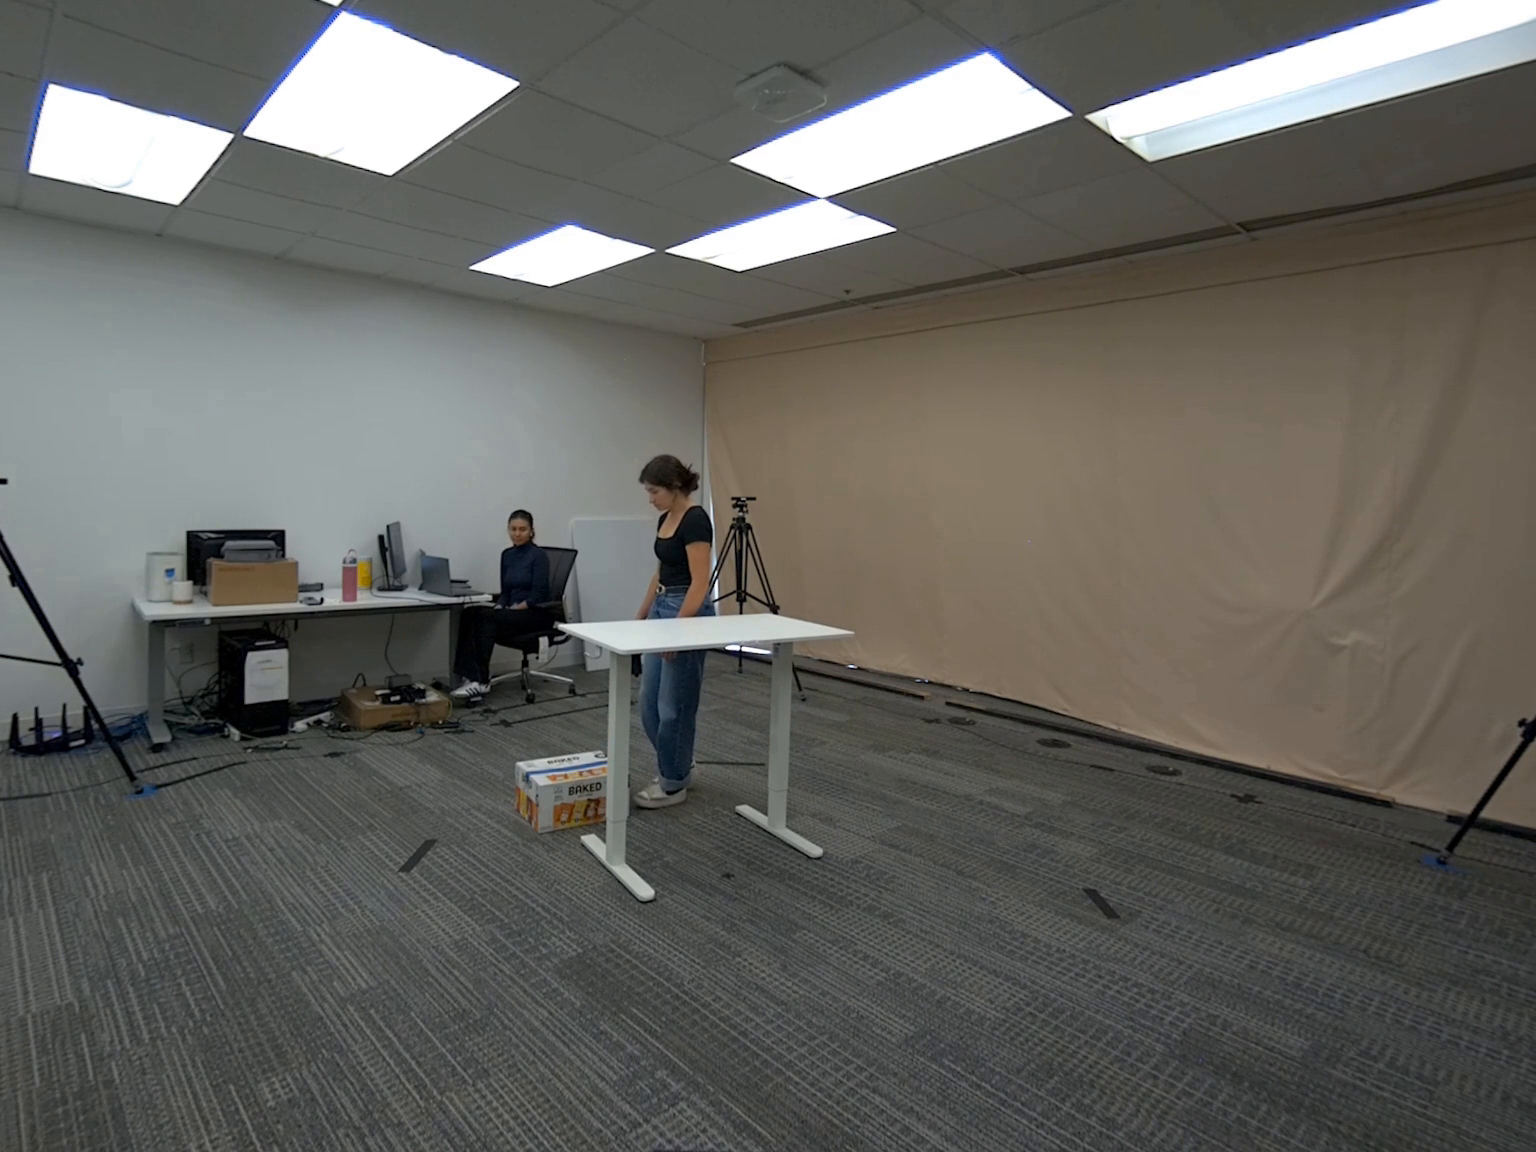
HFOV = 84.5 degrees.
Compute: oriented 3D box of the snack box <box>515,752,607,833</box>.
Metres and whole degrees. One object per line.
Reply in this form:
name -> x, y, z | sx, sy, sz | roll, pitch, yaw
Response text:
snack box -> -0.875, 0.939, 3.689 | 0.396, 0.205, 0.348 | -1, 5, -33
